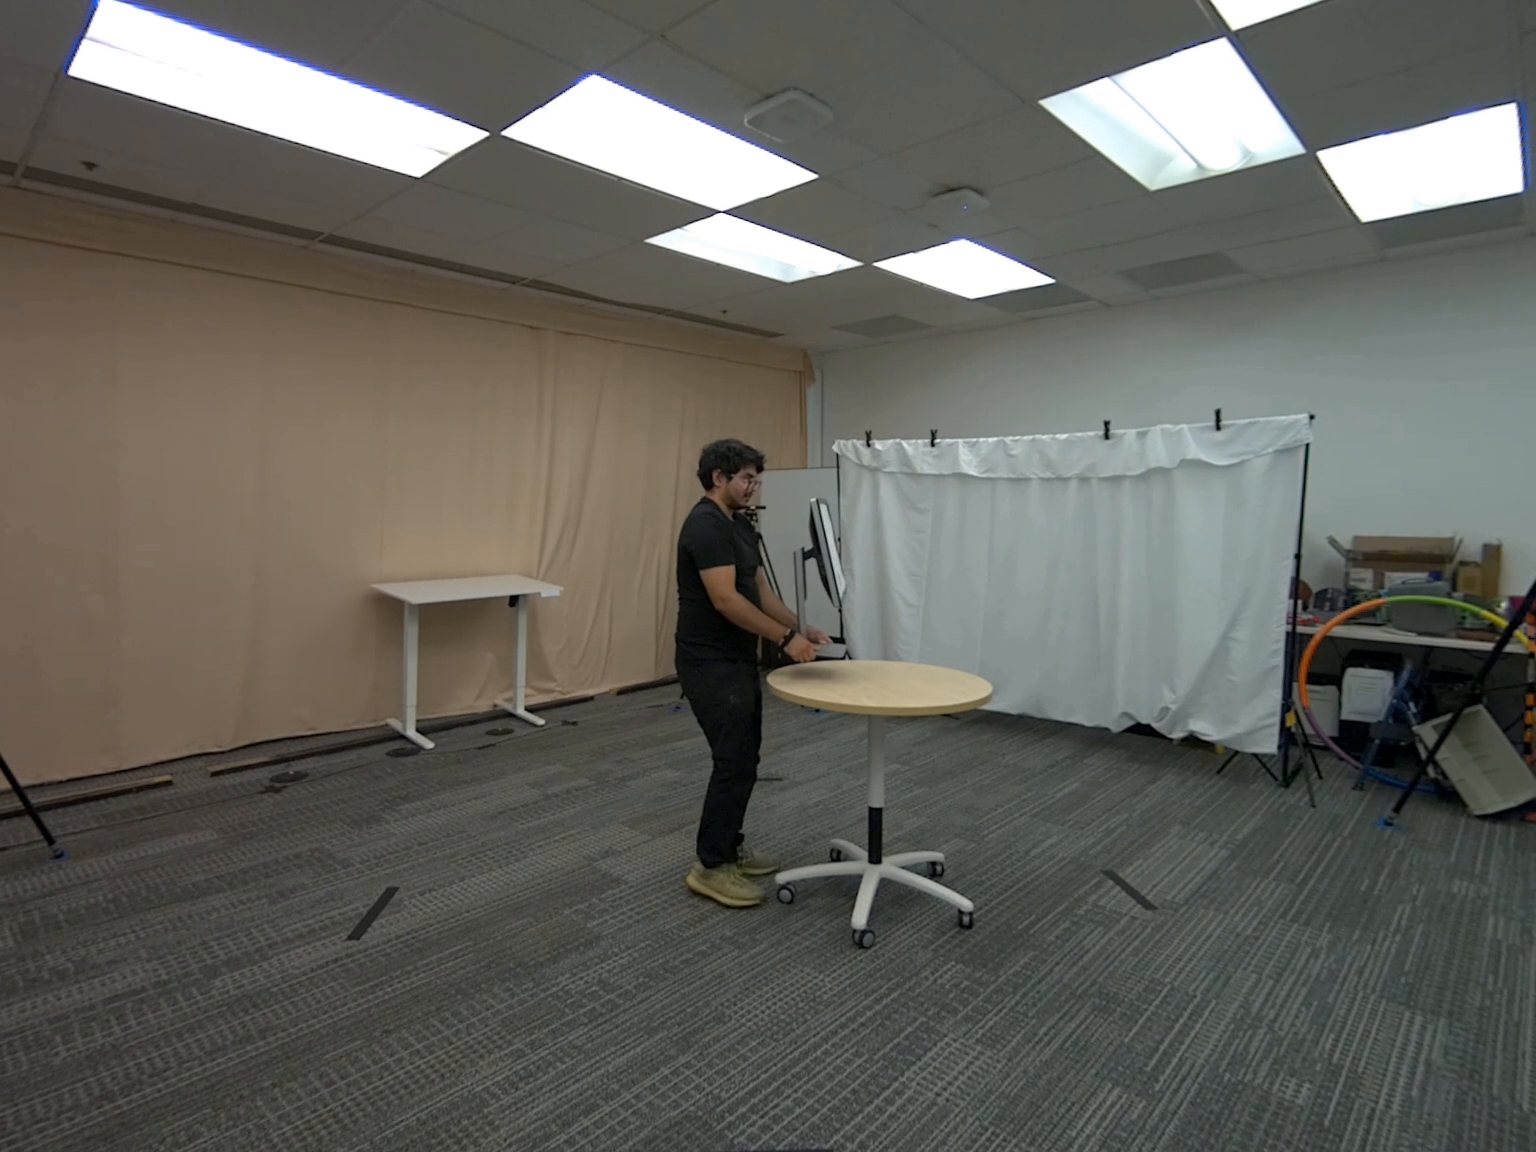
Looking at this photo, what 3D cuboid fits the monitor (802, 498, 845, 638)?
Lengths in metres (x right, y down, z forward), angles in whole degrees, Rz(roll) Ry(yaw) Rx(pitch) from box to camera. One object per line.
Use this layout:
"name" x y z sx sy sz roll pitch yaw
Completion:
"monitor" 0.166 0.002 3.002 0.212 0.553 0.562 -5 3 7
